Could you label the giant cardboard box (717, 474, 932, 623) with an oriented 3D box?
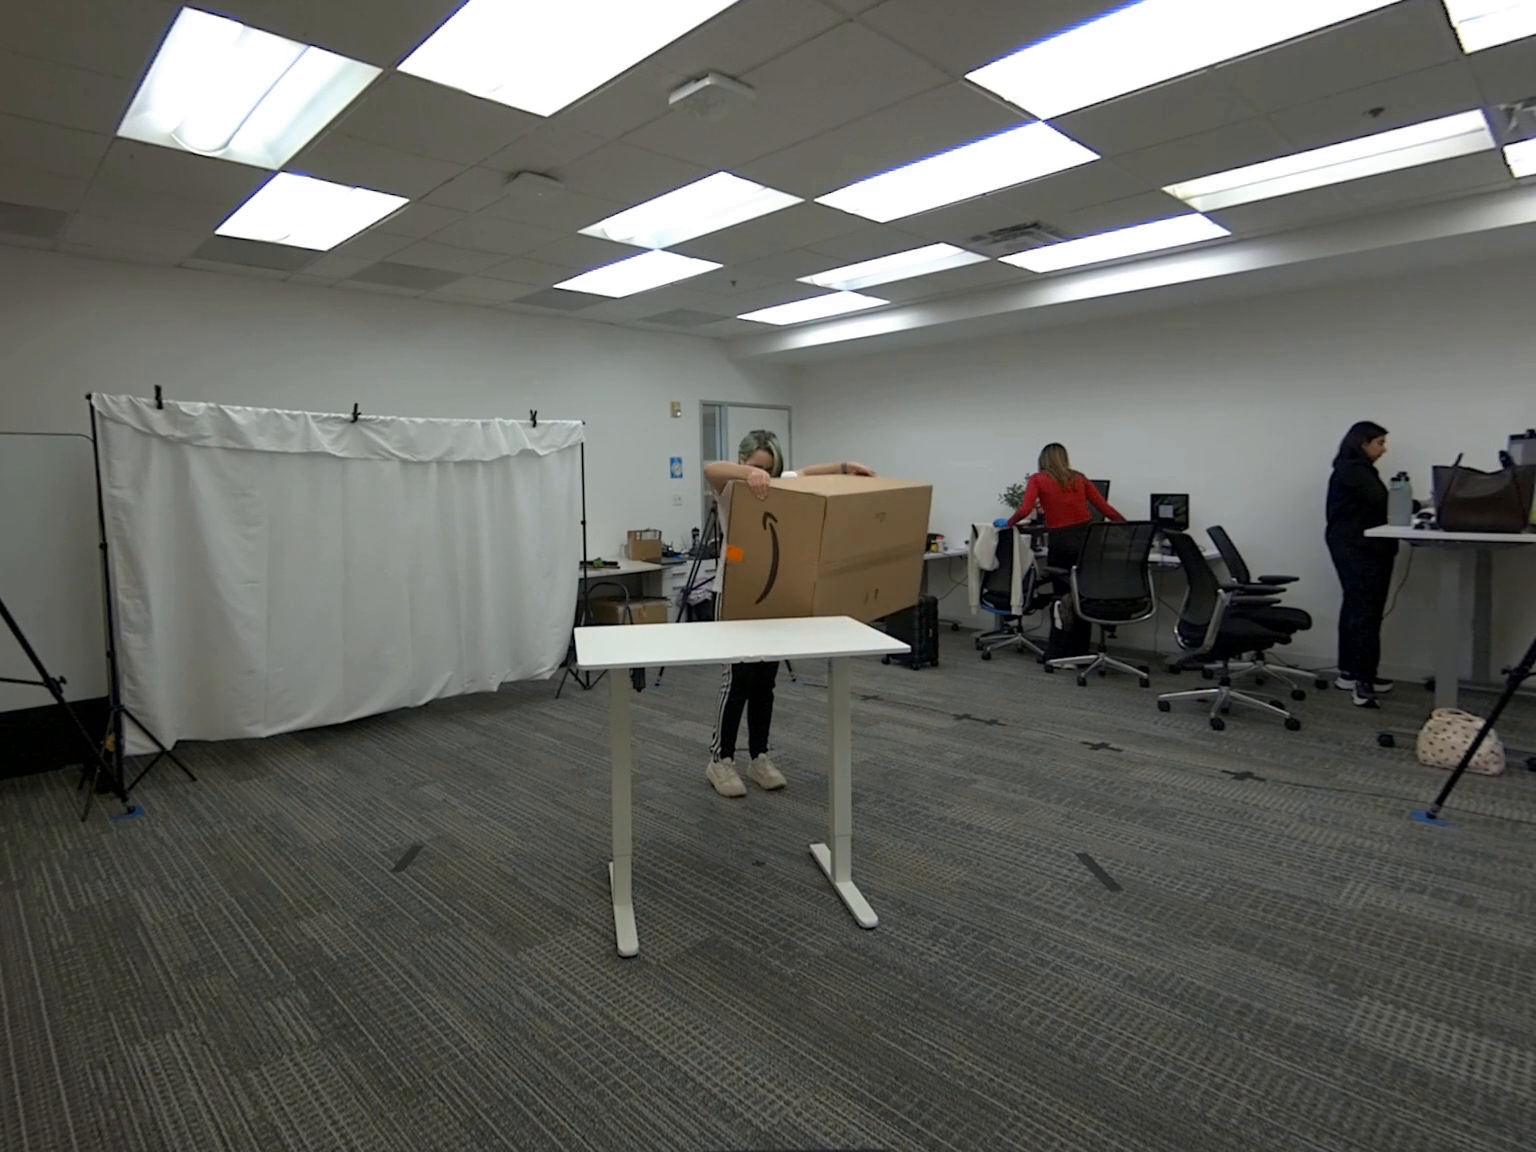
[{"bbox_3d":[0.283,-0.116,3.714,0.461,0.579,1.004,11,12,32],"label":"giant cardboard box"}]
